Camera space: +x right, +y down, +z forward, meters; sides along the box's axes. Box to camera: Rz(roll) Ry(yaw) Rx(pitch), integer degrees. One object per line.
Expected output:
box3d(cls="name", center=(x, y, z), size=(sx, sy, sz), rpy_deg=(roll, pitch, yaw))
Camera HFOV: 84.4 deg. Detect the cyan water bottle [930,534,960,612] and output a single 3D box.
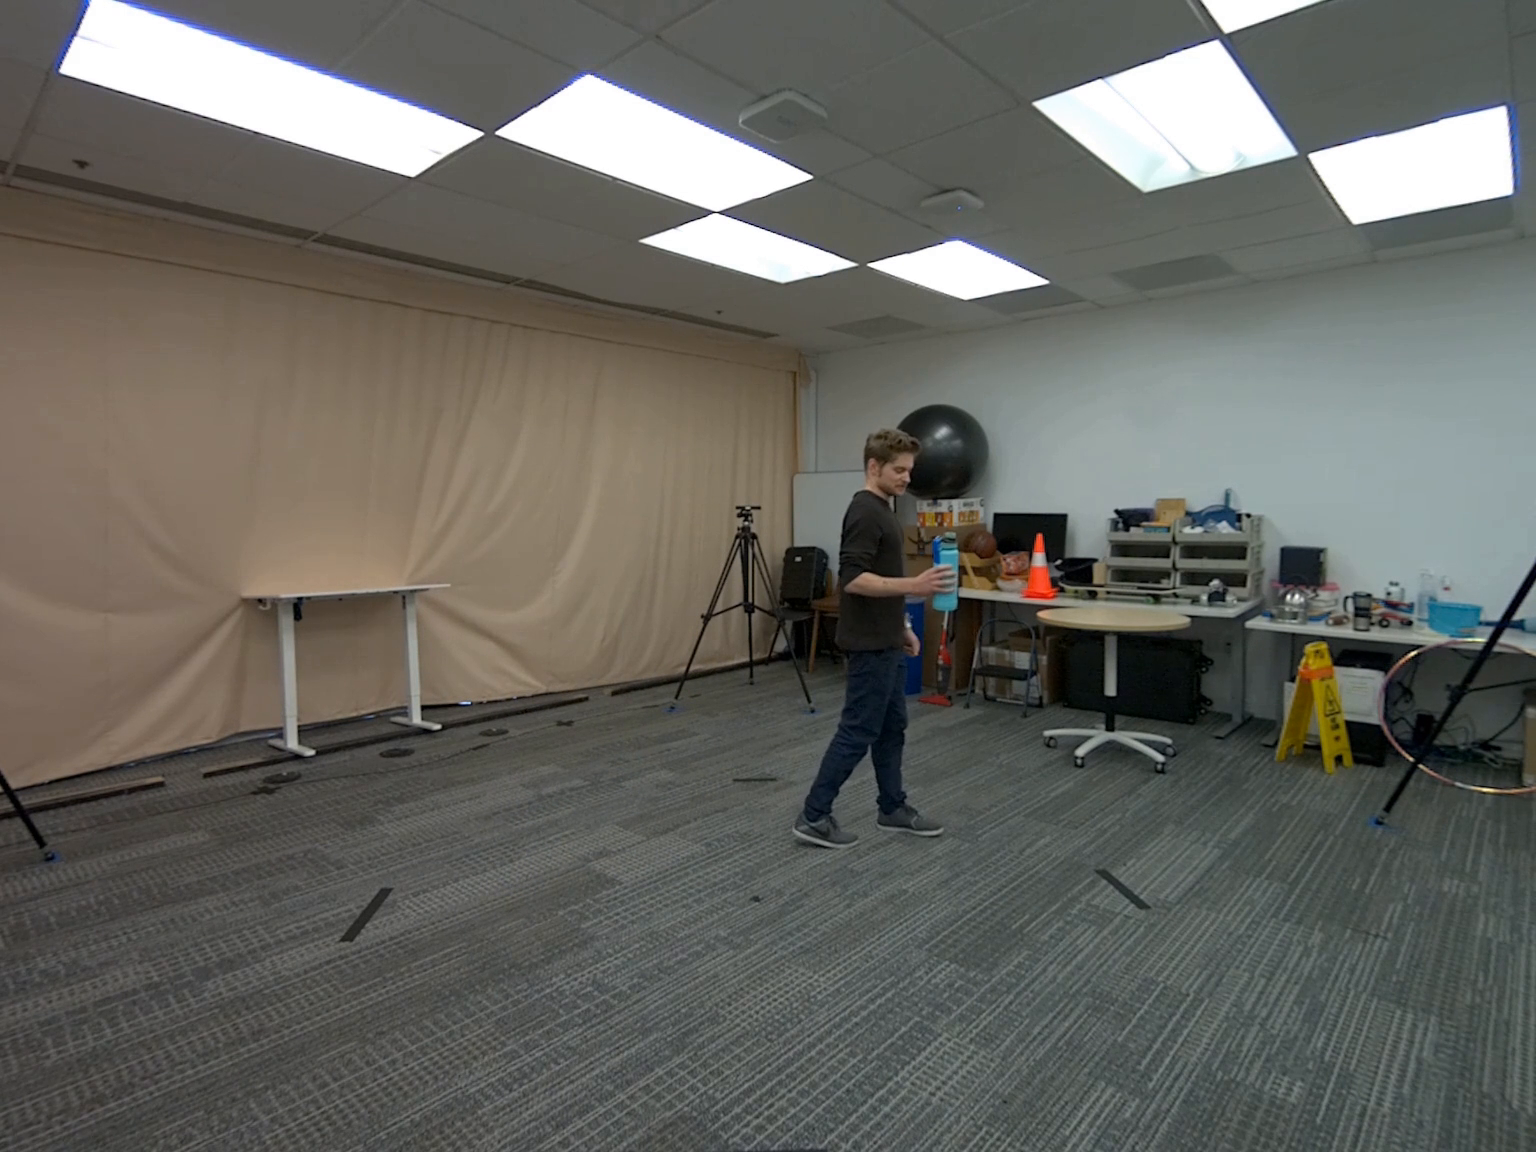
box3d(cls="cyan water bottle", center=(0.670, -0.023, 3.140), size=(0.092, 0.280, 0.093), rpy_deg=(-7, 13, 0))
